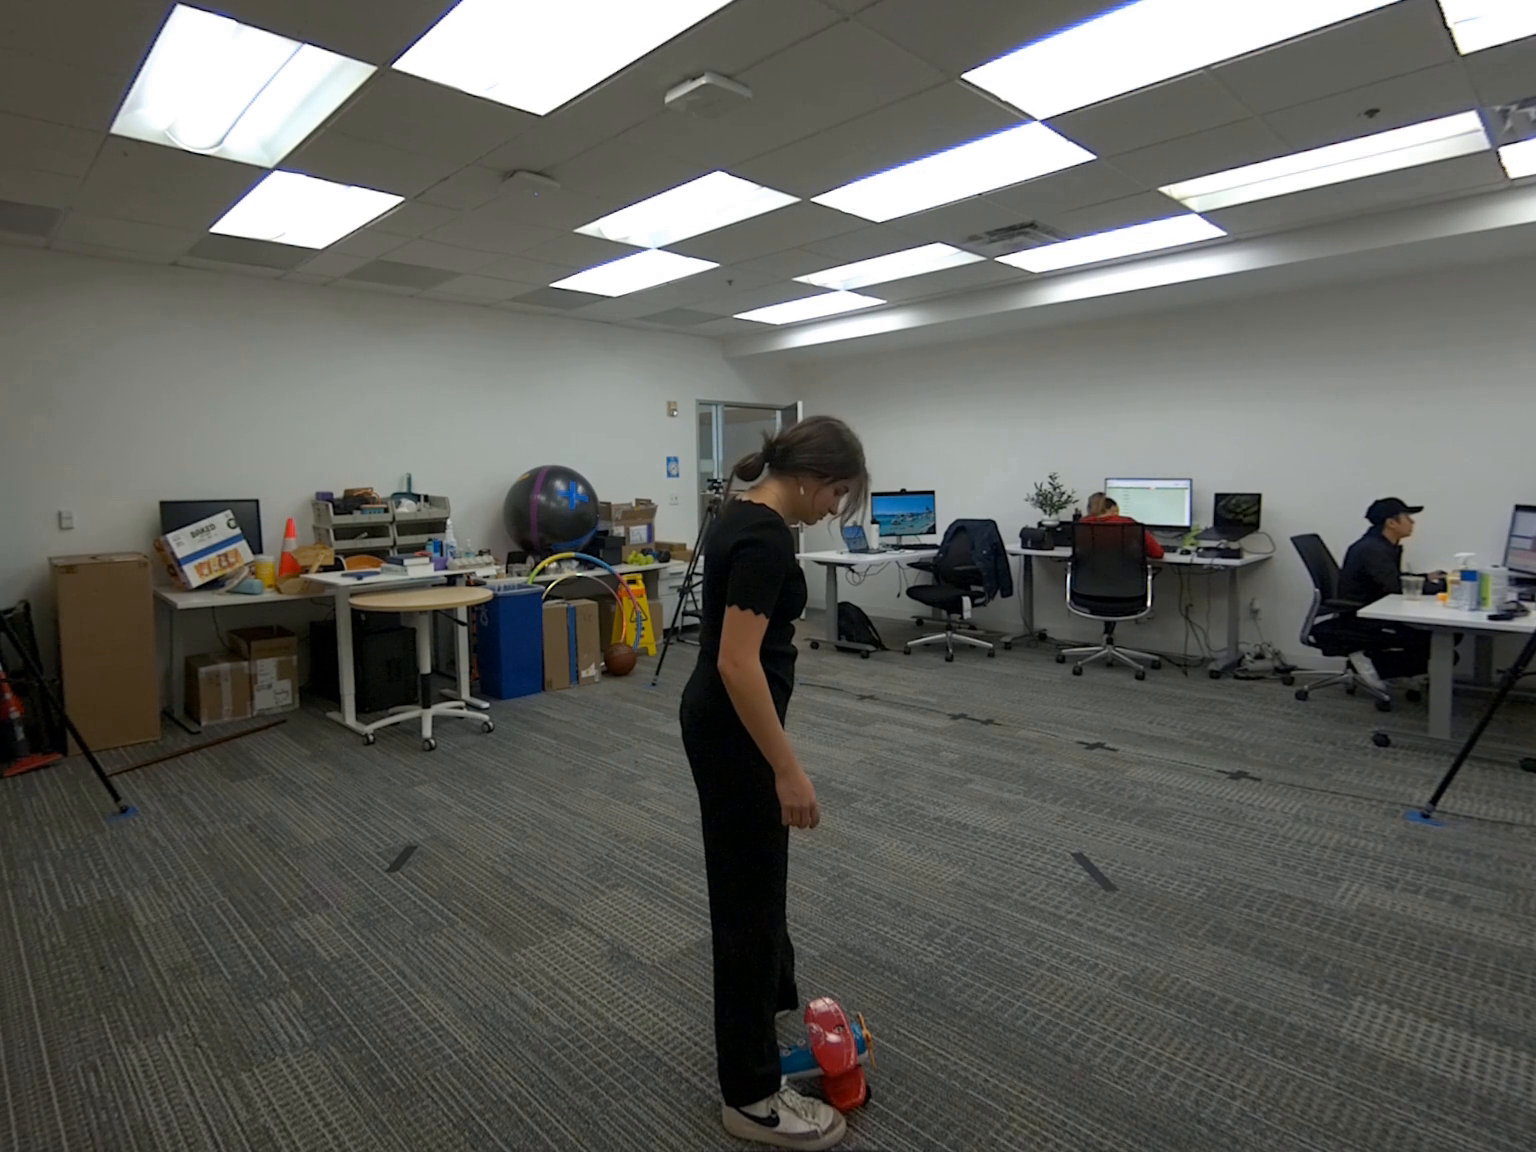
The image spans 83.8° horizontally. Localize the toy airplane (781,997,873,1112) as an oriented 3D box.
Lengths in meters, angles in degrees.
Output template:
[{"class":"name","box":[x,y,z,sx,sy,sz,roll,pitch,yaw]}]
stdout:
[{"class":"toy airplane","box":[0.126,1.104,1.923,0.252,0.156,0.258,-4,6,-36]}]
